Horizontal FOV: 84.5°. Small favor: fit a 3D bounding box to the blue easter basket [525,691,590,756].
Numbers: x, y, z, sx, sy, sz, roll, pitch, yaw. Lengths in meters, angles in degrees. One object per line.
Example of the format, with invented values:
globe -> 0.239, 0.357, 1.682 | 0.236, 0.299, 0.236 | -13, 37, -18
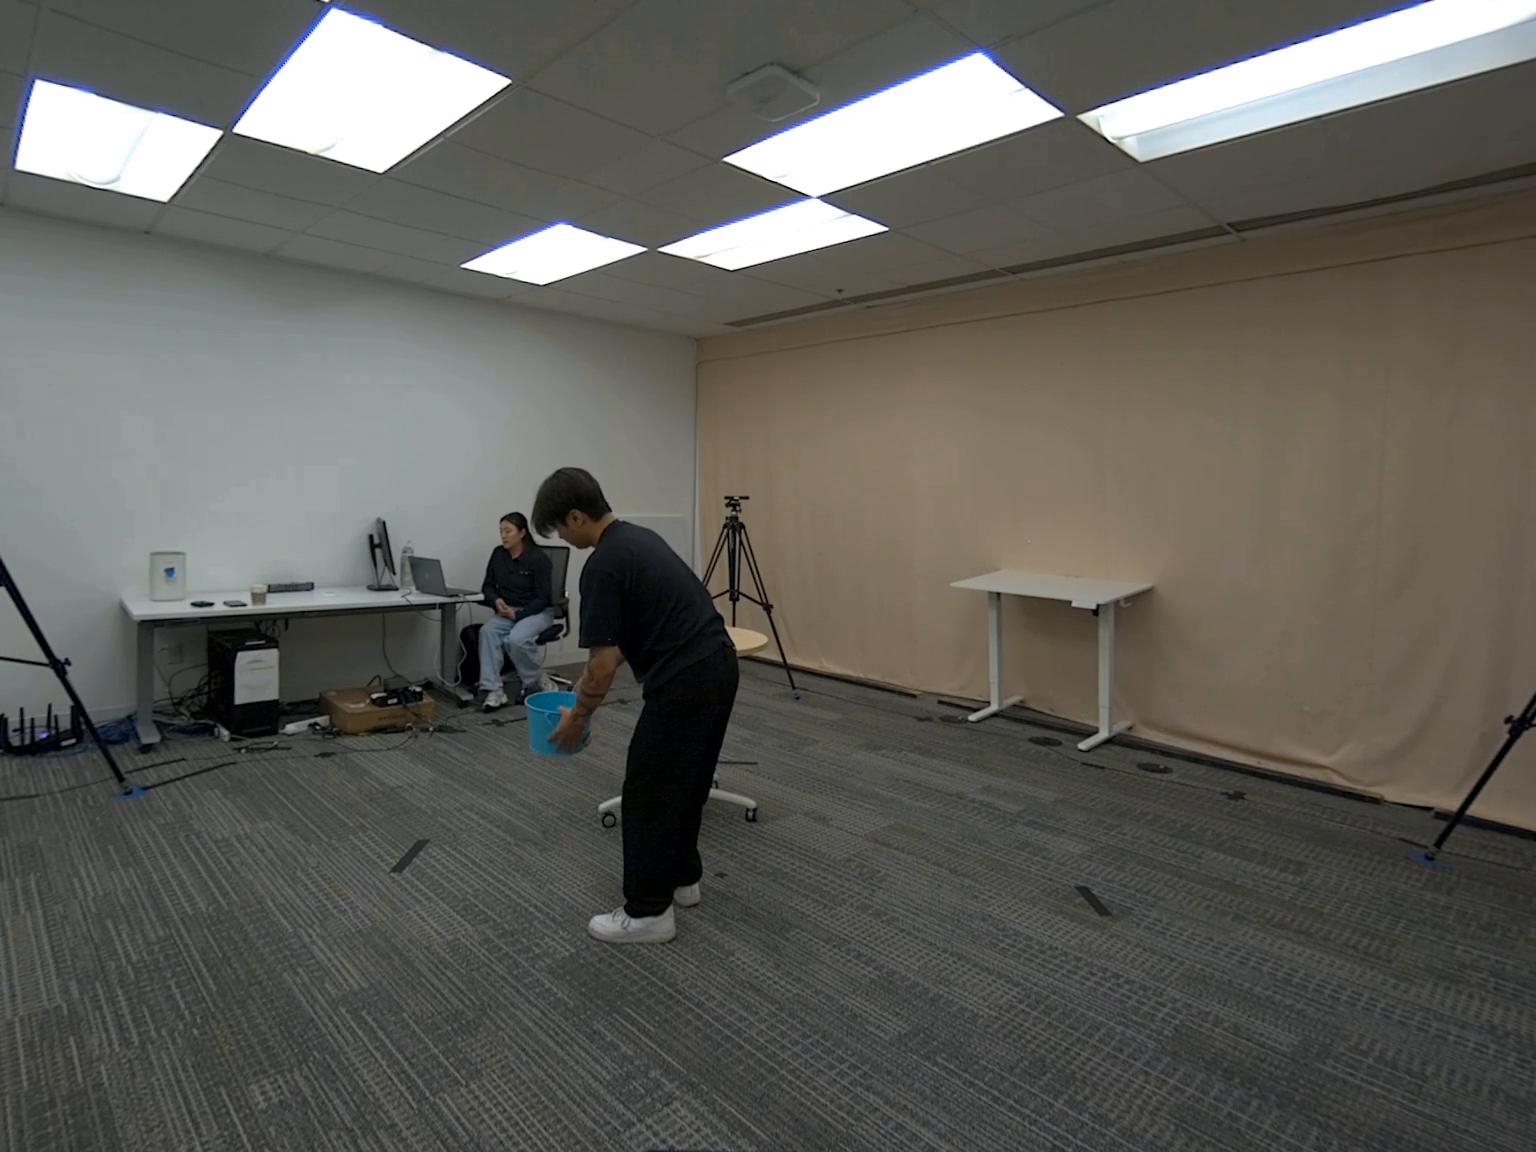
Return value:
blue easter basket -> -0.694, 0.494, 2.808 | 0.243, 0.155, 0.245 | 5, 7, -2
